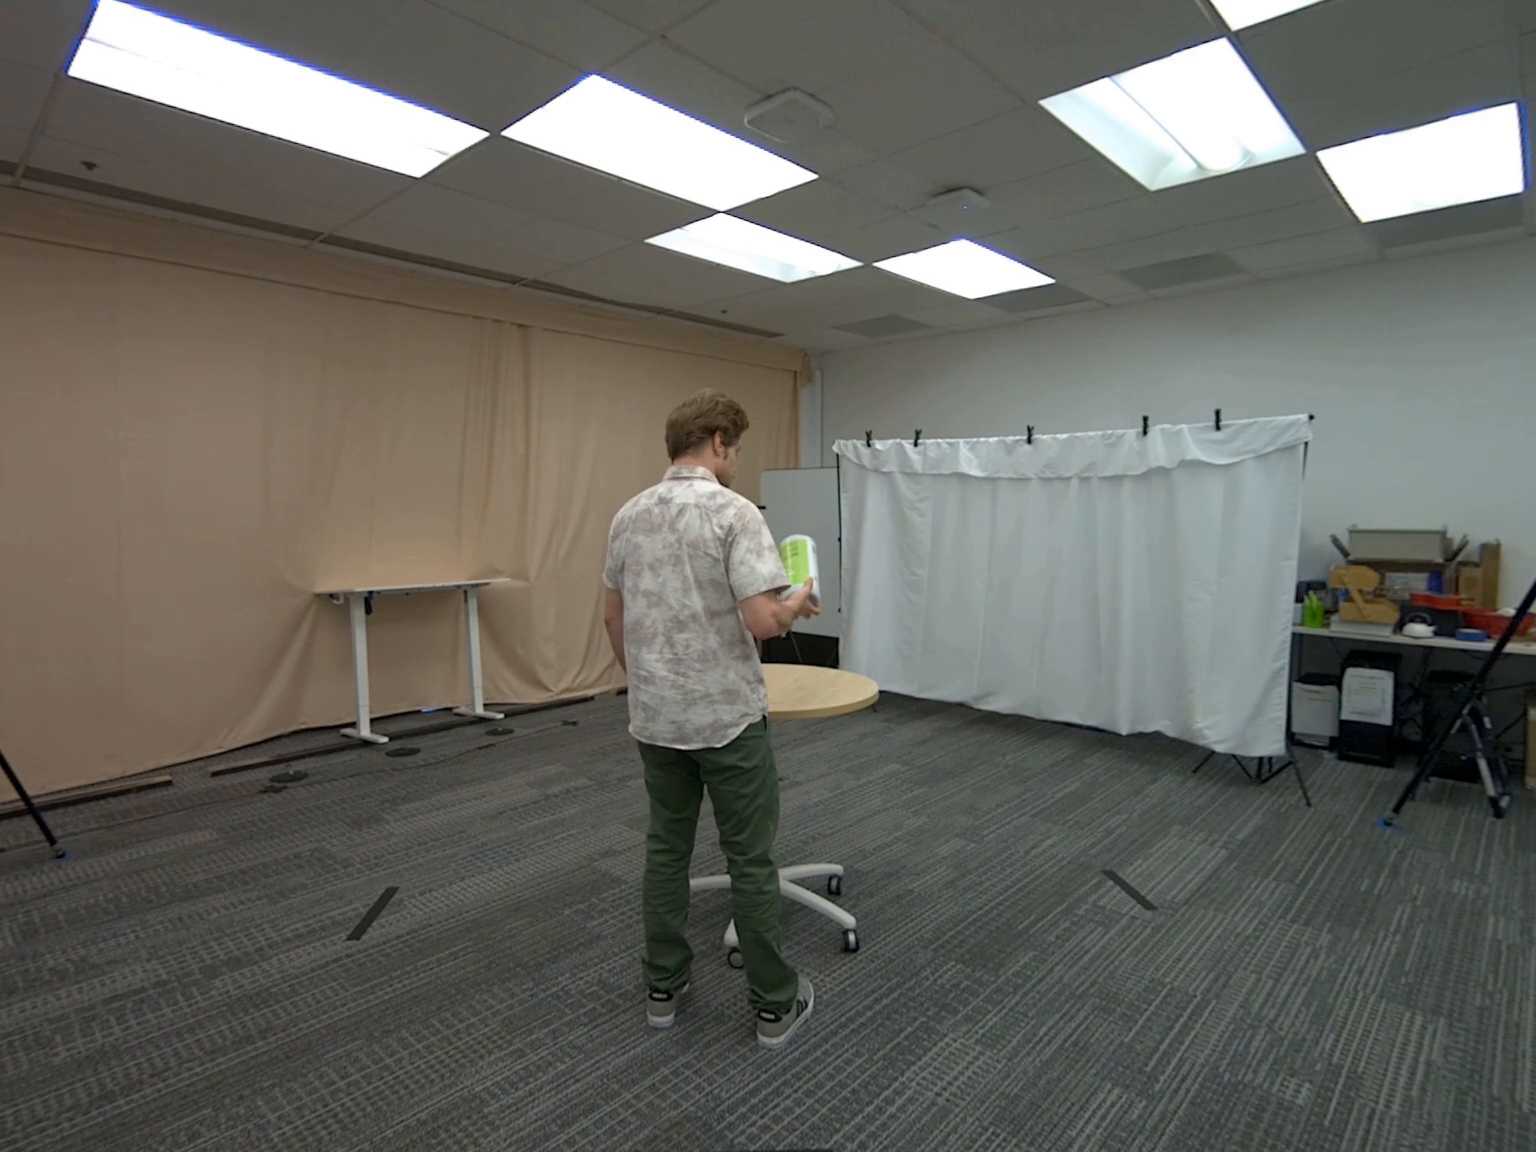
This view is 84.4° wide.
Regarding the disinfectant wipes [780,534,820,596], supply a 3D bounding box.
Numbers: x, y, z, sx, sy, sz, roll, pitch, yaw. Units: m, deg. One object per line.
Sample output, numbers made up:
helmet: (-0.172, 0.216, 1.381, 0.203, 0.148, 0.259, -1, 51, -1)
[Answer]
disinfectant wipes: (0.103, -0.009, 2.471, 0.117, 0.222, 0.116, -1, -38, -2)
